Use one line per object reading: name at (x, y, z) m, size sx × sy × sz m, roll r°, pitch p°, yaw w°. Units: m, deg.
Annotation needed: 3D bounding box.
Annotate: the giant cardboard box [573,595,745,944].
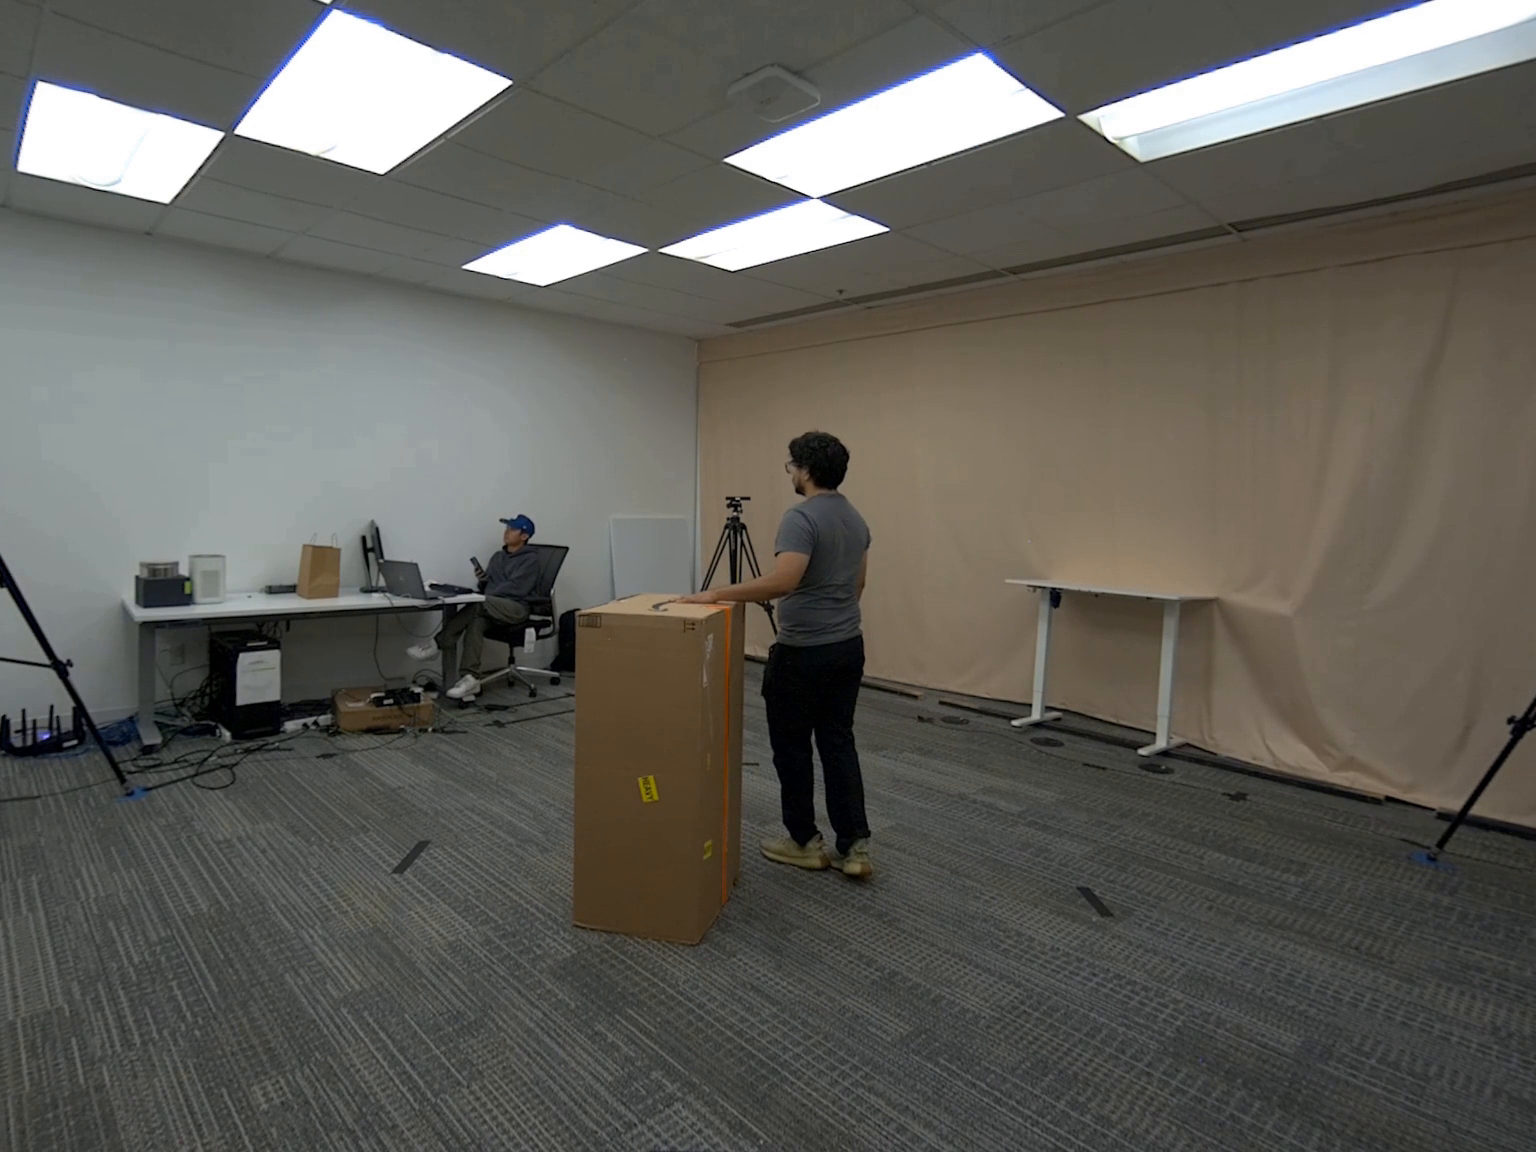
giant cardboard box at (-0.357, 0.607, 2.907) m, size 0.431 × 1.024 × 0.572 m, roll 2°, pitch 3°, yaw 13°
